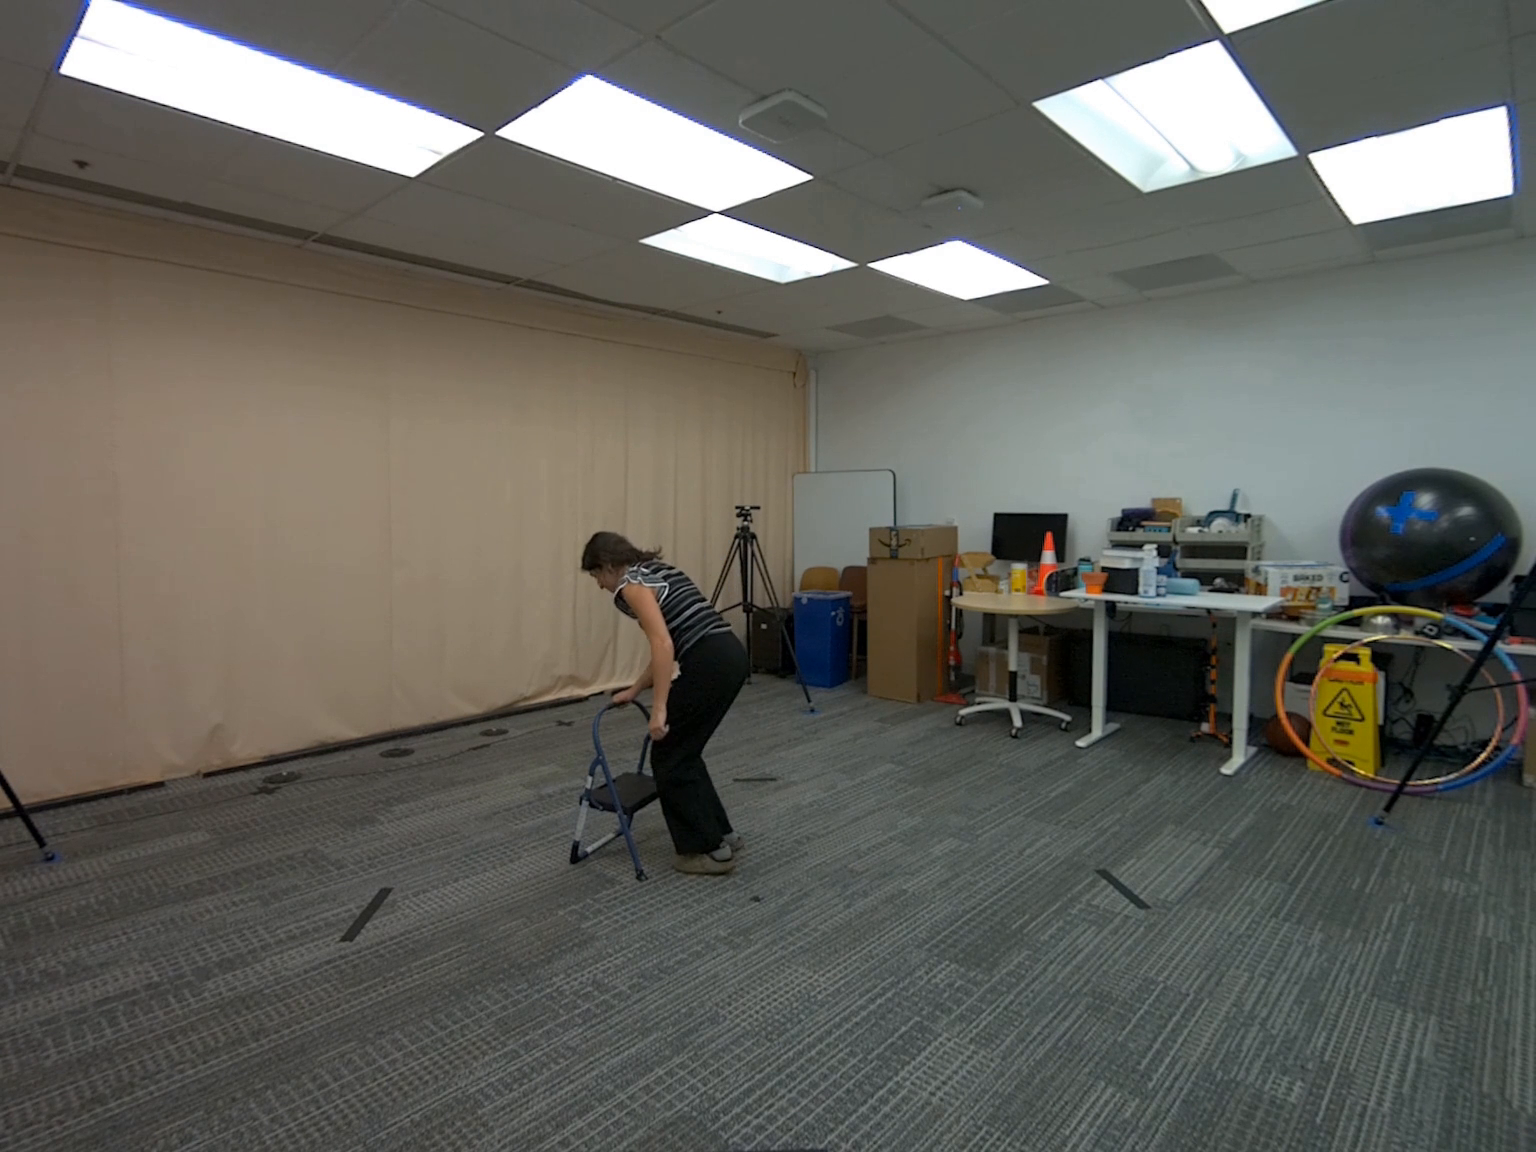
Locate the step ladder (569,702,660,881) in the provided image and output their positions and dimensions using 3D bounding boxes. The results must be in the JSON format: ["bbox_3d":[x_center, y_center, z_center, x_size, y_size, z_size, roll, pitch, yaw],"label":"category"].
[{"bbox_3d":[-0.542,0.815,3.386,0.358,0.605,0.421,1,3,25],"label":"step ladder"}]
